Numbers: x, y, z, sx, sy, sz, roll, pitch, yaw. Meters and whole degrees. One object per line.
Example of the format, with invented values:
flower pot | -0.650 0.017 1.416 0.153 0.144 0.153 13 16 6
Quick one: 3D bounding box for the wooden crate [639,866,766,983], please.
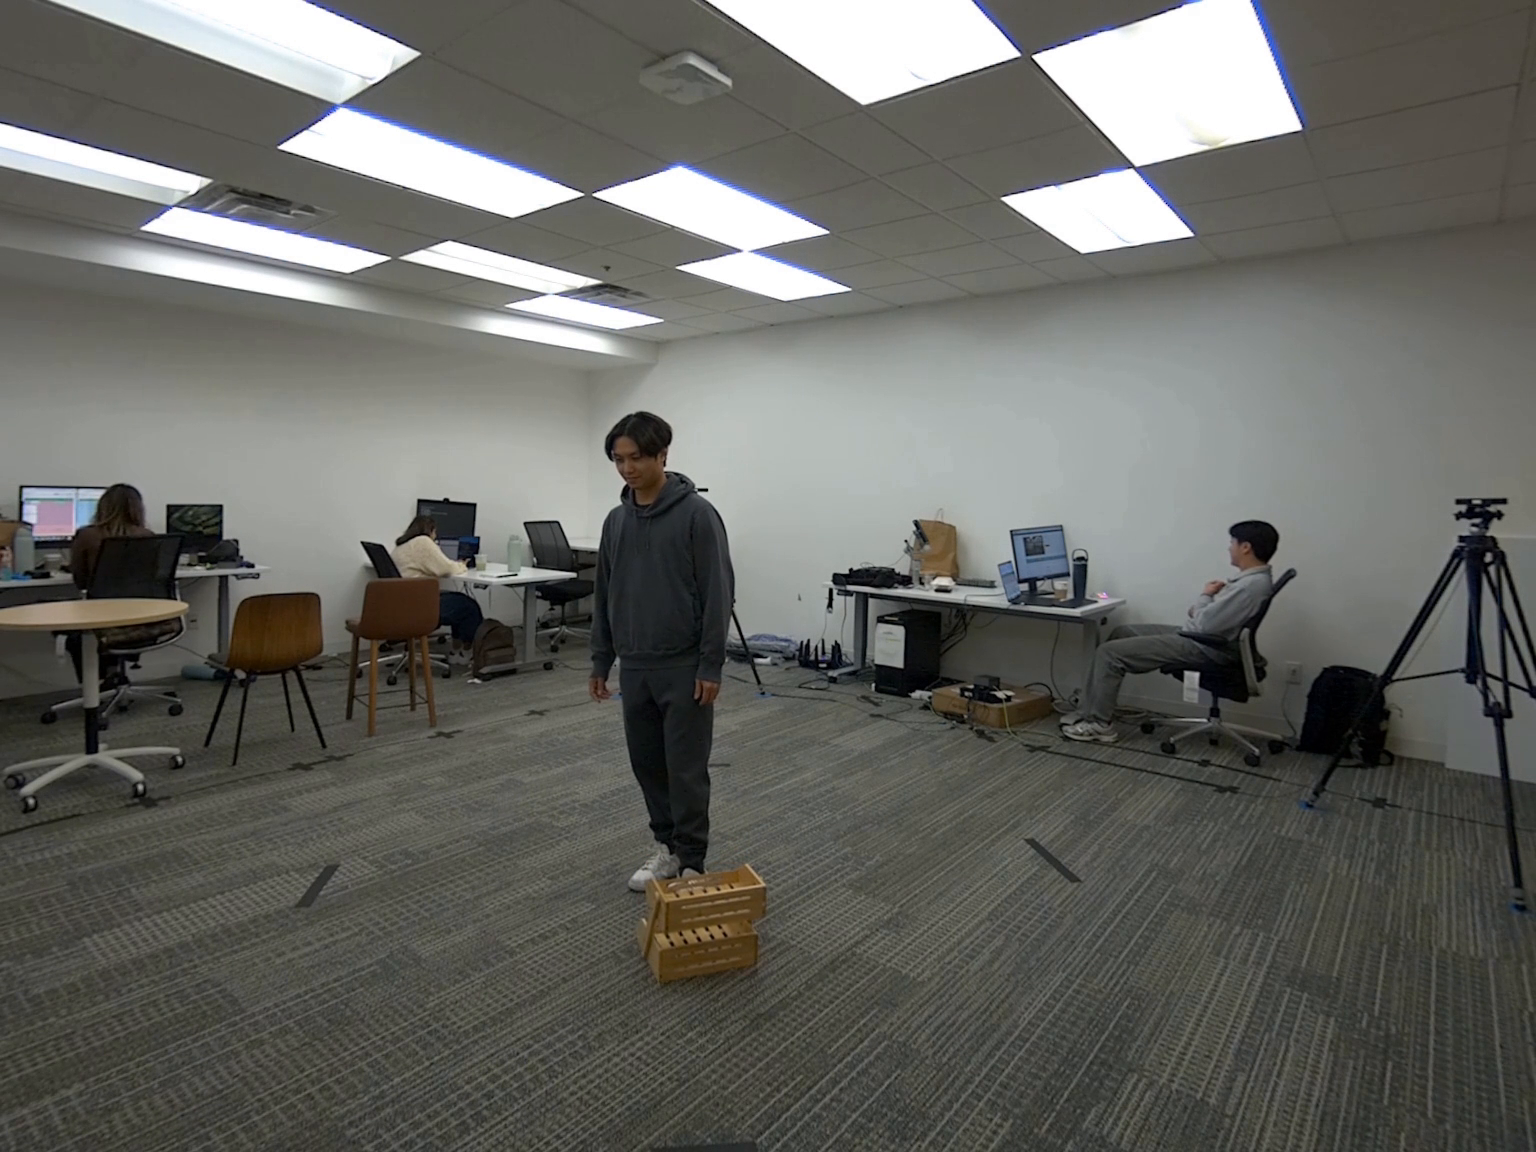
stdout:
wooden crate | -0.214 0.991 2.525 0.317 0.272 0.310 -1 5 -22
